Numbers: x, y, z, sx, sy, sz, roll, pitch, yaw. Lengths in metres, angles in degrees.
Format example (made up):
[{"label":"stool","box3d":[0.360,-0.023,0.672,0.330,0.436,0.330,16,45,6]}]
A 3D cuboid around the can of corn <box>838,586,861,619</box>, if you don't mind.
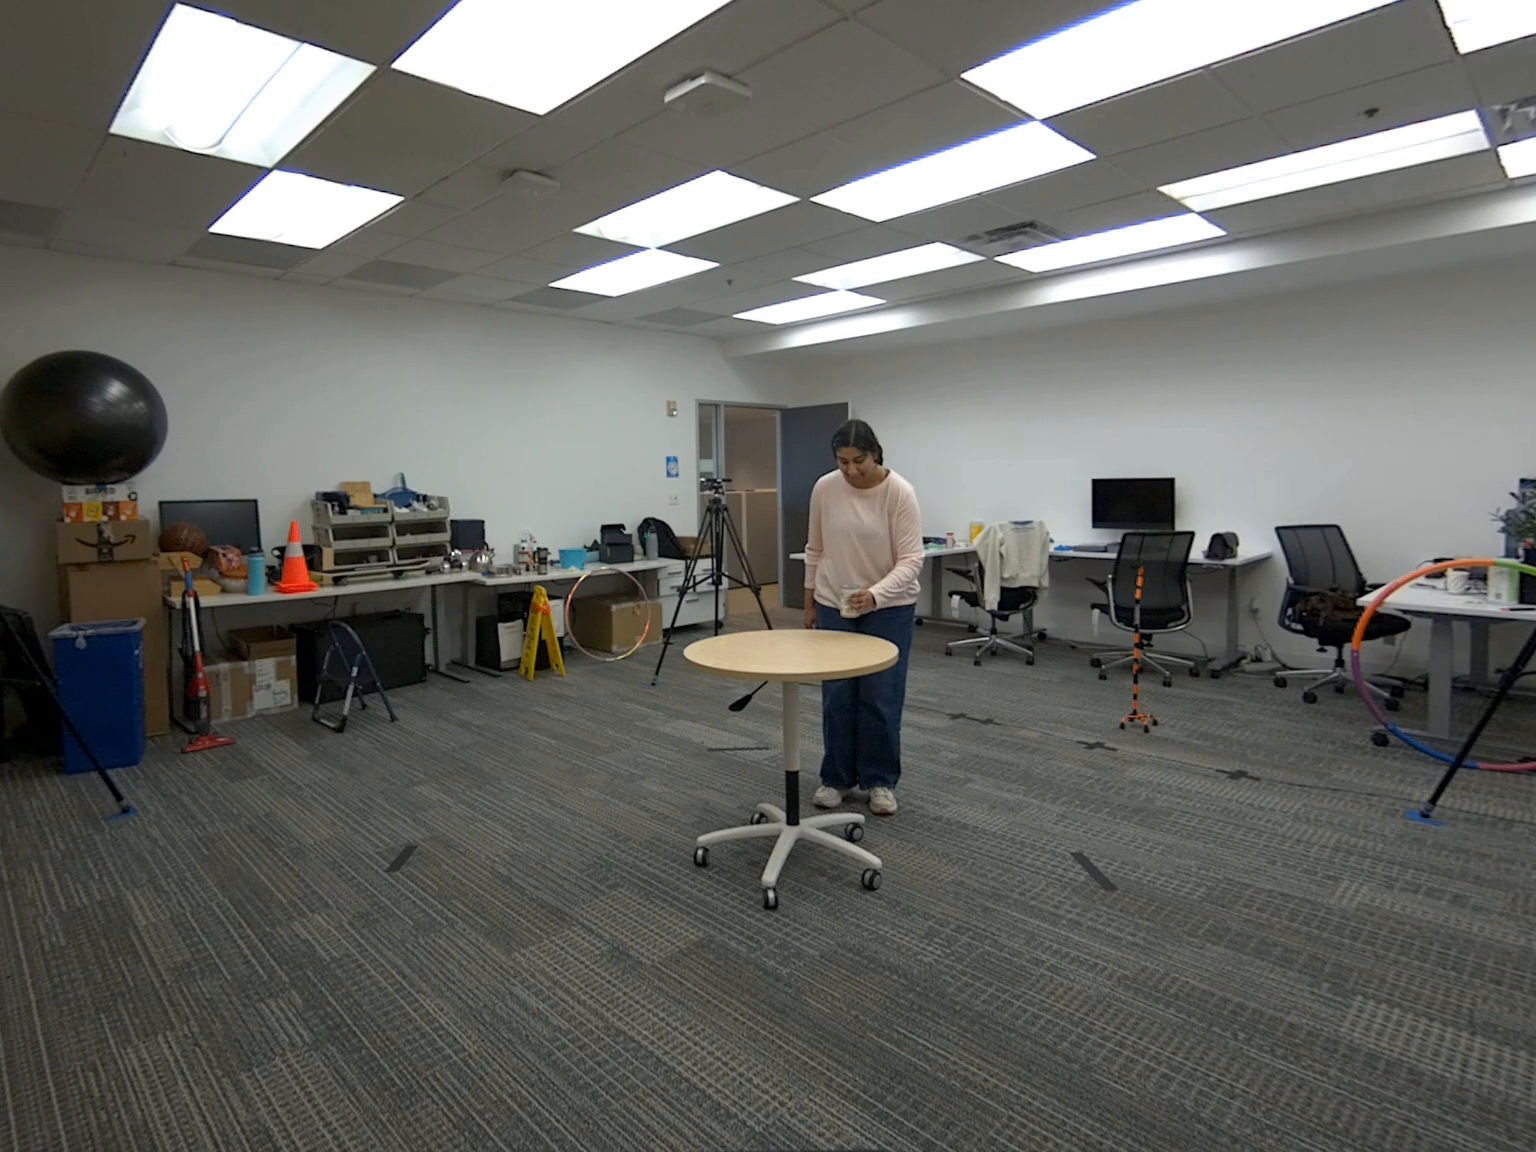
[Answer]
[{"label":"can of corn","box3d":[0.316,0.098,3.239,0.074,0.111,0.074,0,4,-2]}]
